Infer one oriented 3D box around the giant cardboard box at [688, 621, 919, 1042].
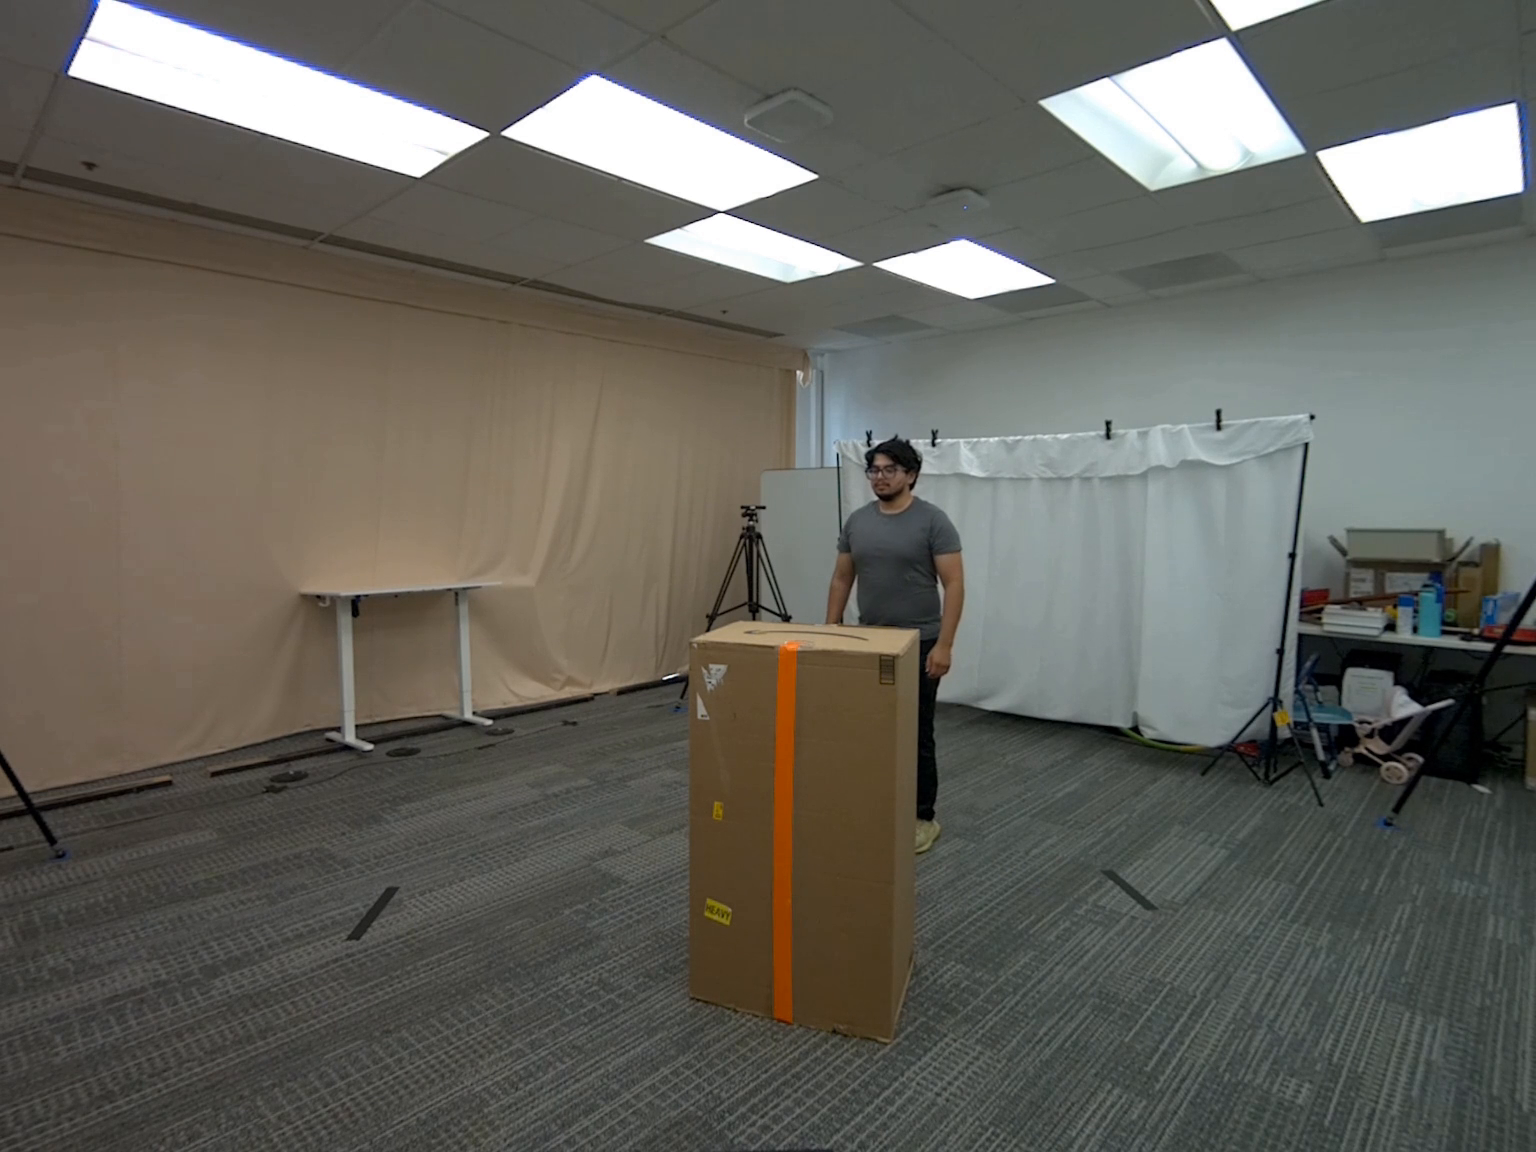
[{"bbox_3d":[0.114,0.682,2.442,0.596,1.025,0.438,2,3,19],"label":"giant cardboard box"}]
